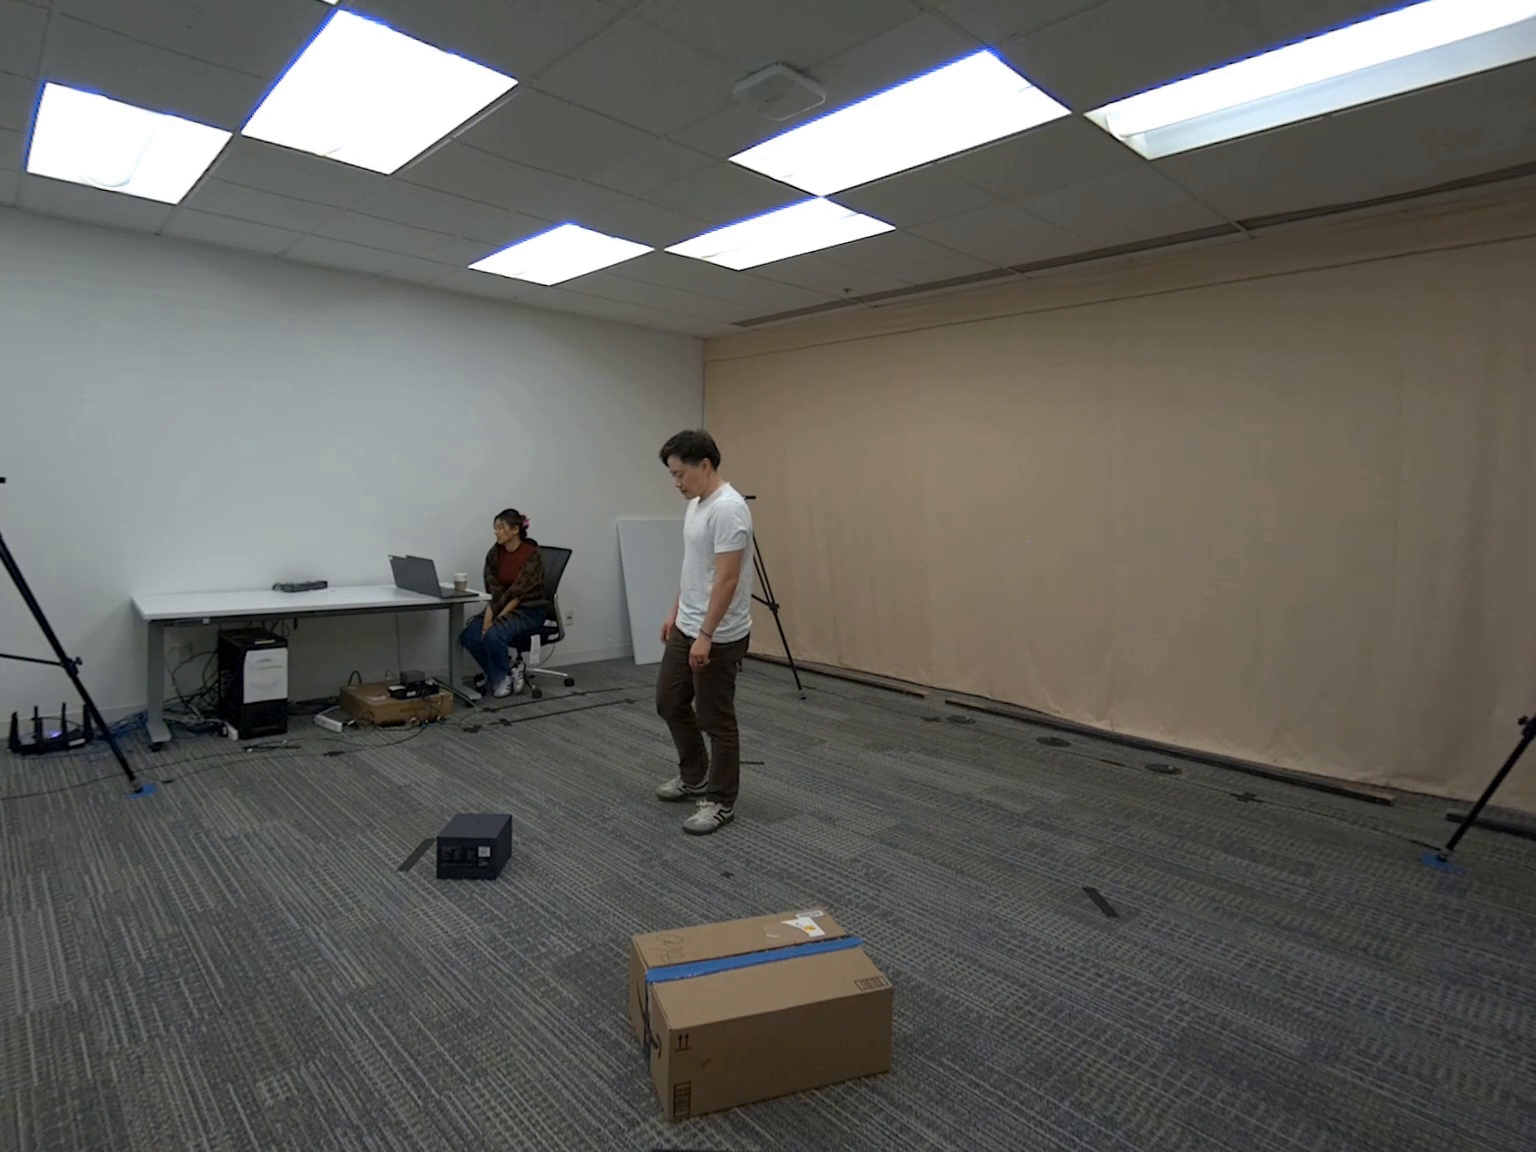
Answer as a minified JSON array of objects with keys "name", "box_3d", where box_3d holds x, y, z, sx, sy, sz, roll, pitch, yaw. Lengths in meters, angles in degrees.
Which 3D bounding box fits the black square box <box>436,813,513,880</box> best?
[{"name":"black square box","box_3d":[-1.094,0.995,3.122,0.217,0.155,0.229,1,5,-1]}]
